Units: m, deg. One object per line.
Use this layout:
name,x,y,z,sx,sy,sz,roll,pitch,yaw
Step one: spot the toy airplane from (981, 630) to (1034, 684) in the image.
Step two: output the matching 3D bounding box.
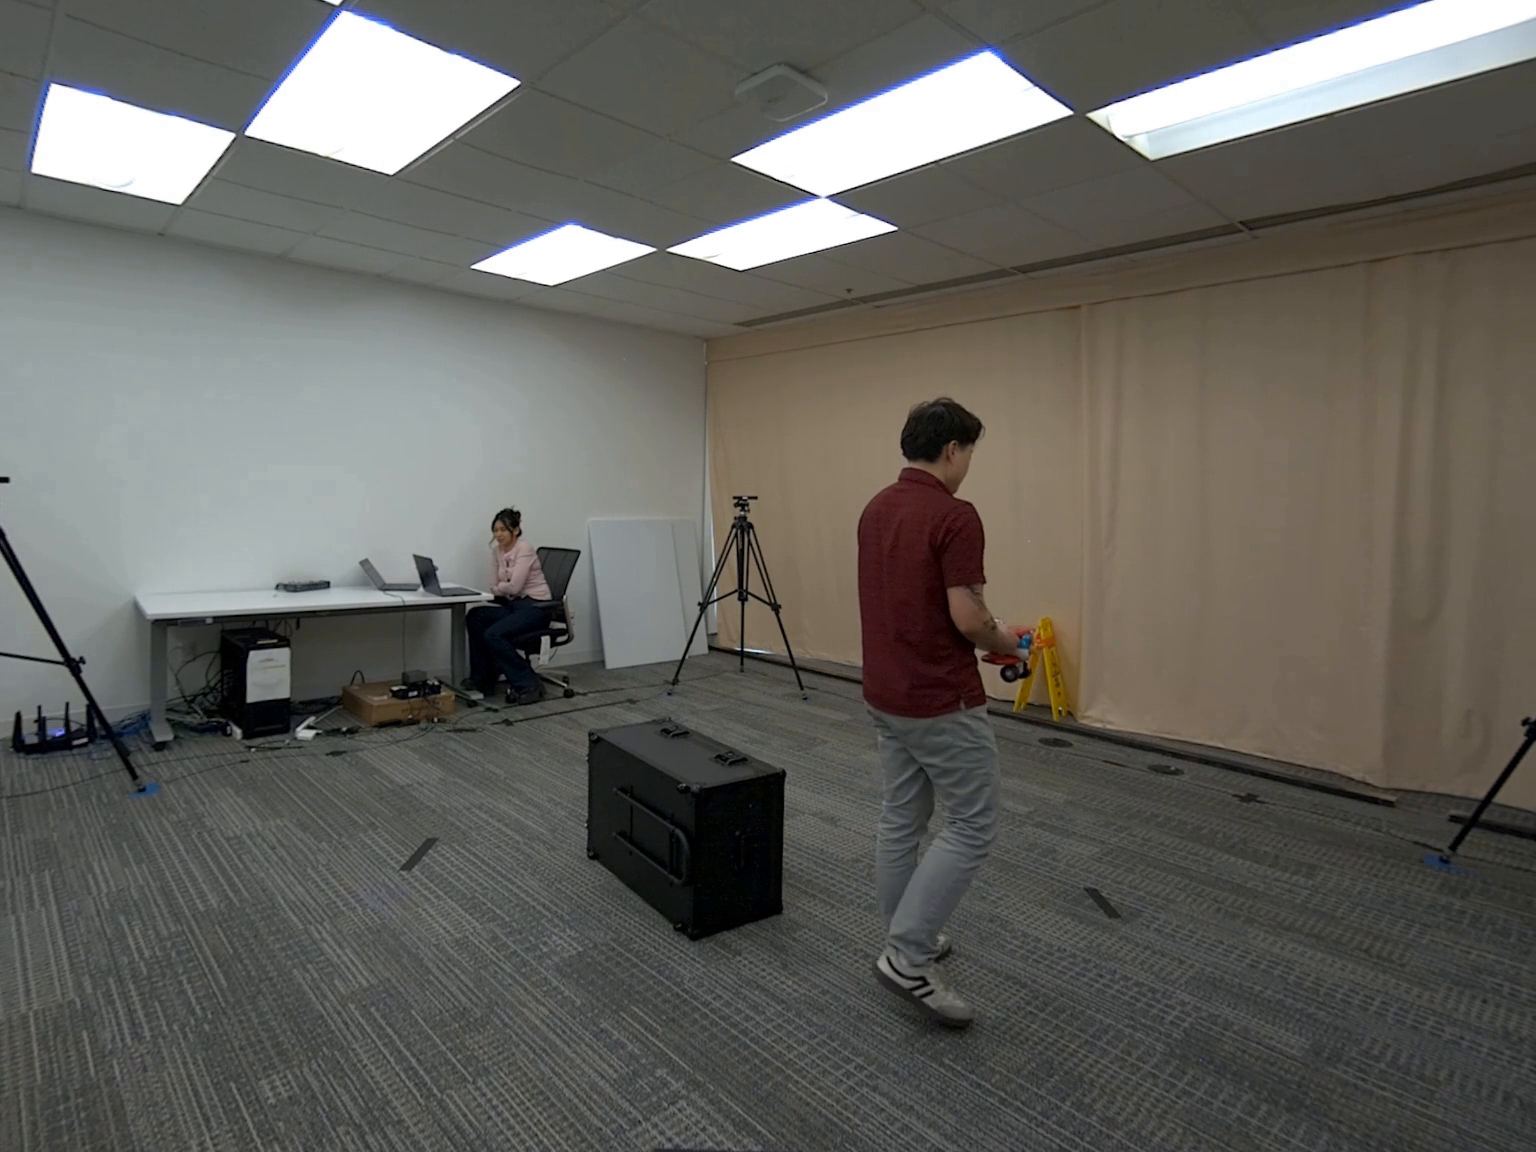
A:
toy airplane,0.694,0.221,2.586,0.262,0.155,0.250,18,16,12
